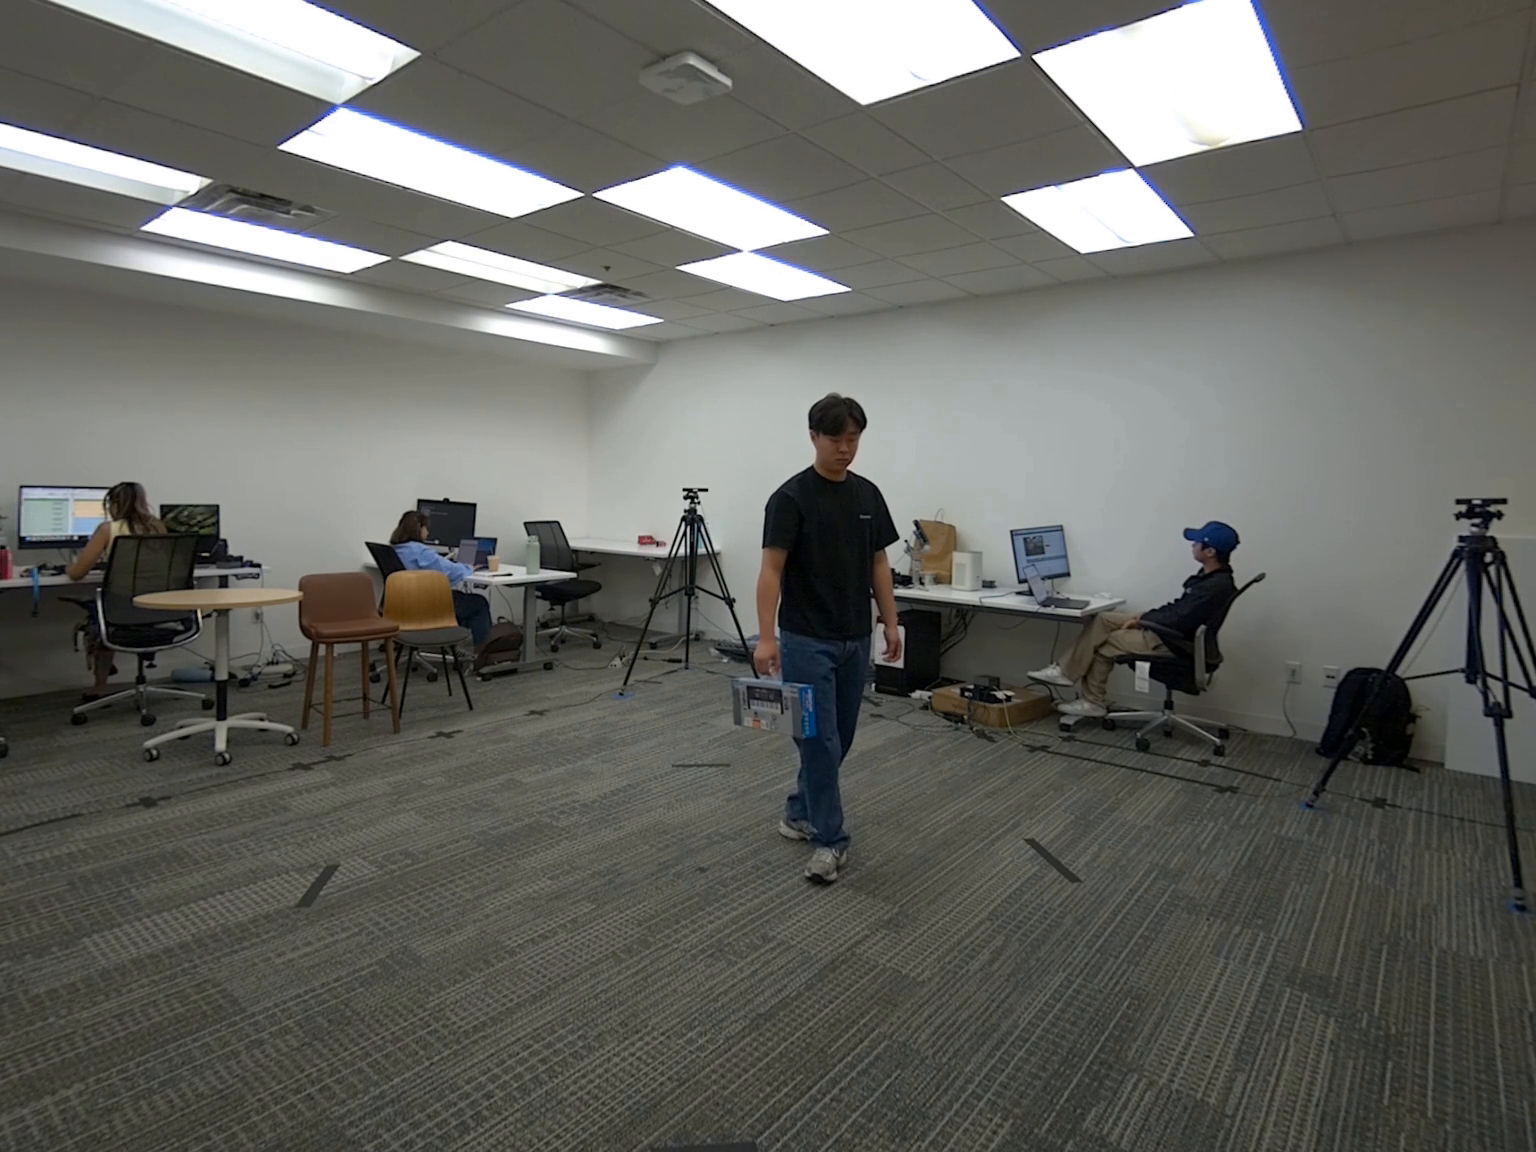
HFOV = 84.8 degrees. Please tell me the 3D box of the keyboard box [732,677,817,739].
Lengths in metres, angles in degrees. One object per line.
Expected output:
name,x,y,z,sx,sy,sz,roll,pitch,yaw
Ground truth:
keyboard box,0.002,0.461,3.035,0.057,0.176,0.448,-2,-1,-33
